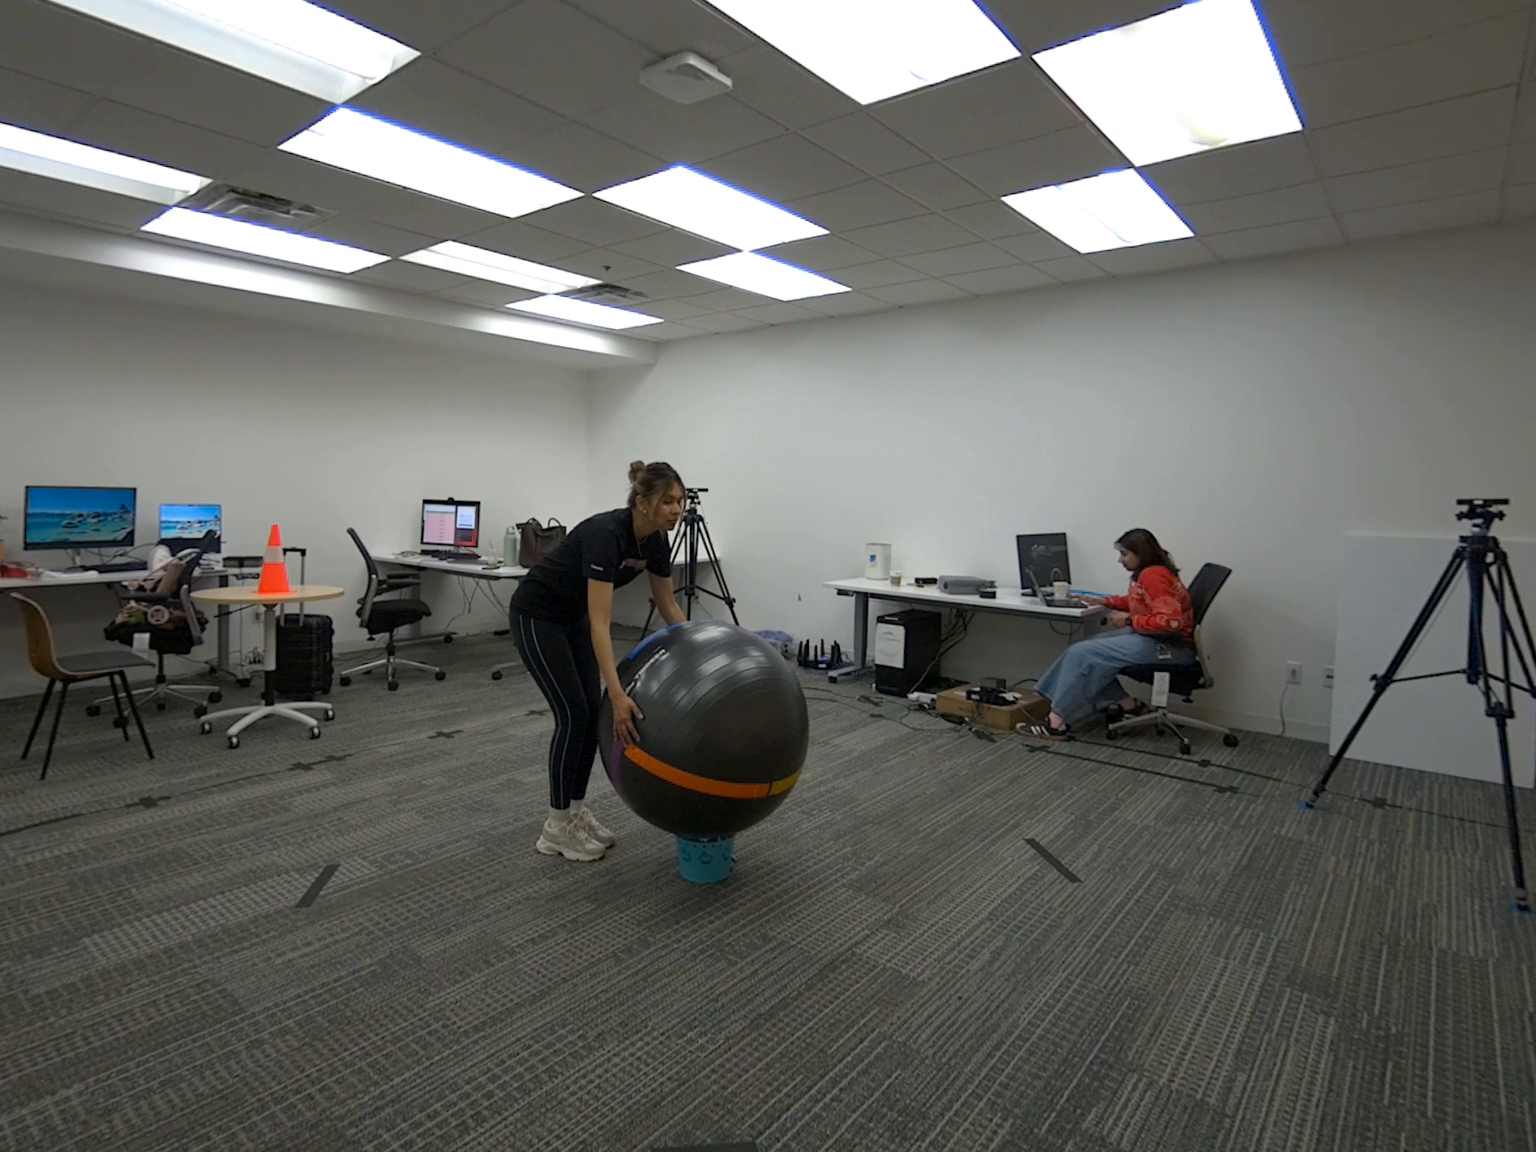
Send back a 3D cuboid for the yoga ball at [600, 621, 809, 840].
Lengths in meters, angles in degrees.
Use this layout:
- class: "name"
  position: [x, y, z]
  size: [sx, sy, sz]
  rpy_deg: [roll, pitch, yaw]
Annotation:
- class: "yoga ball"
  position: [-0.242, 0.537, 3.048]
  size: [0.757, 0.755, 0.762]
  rpy_deg: [1, 4, -2]
